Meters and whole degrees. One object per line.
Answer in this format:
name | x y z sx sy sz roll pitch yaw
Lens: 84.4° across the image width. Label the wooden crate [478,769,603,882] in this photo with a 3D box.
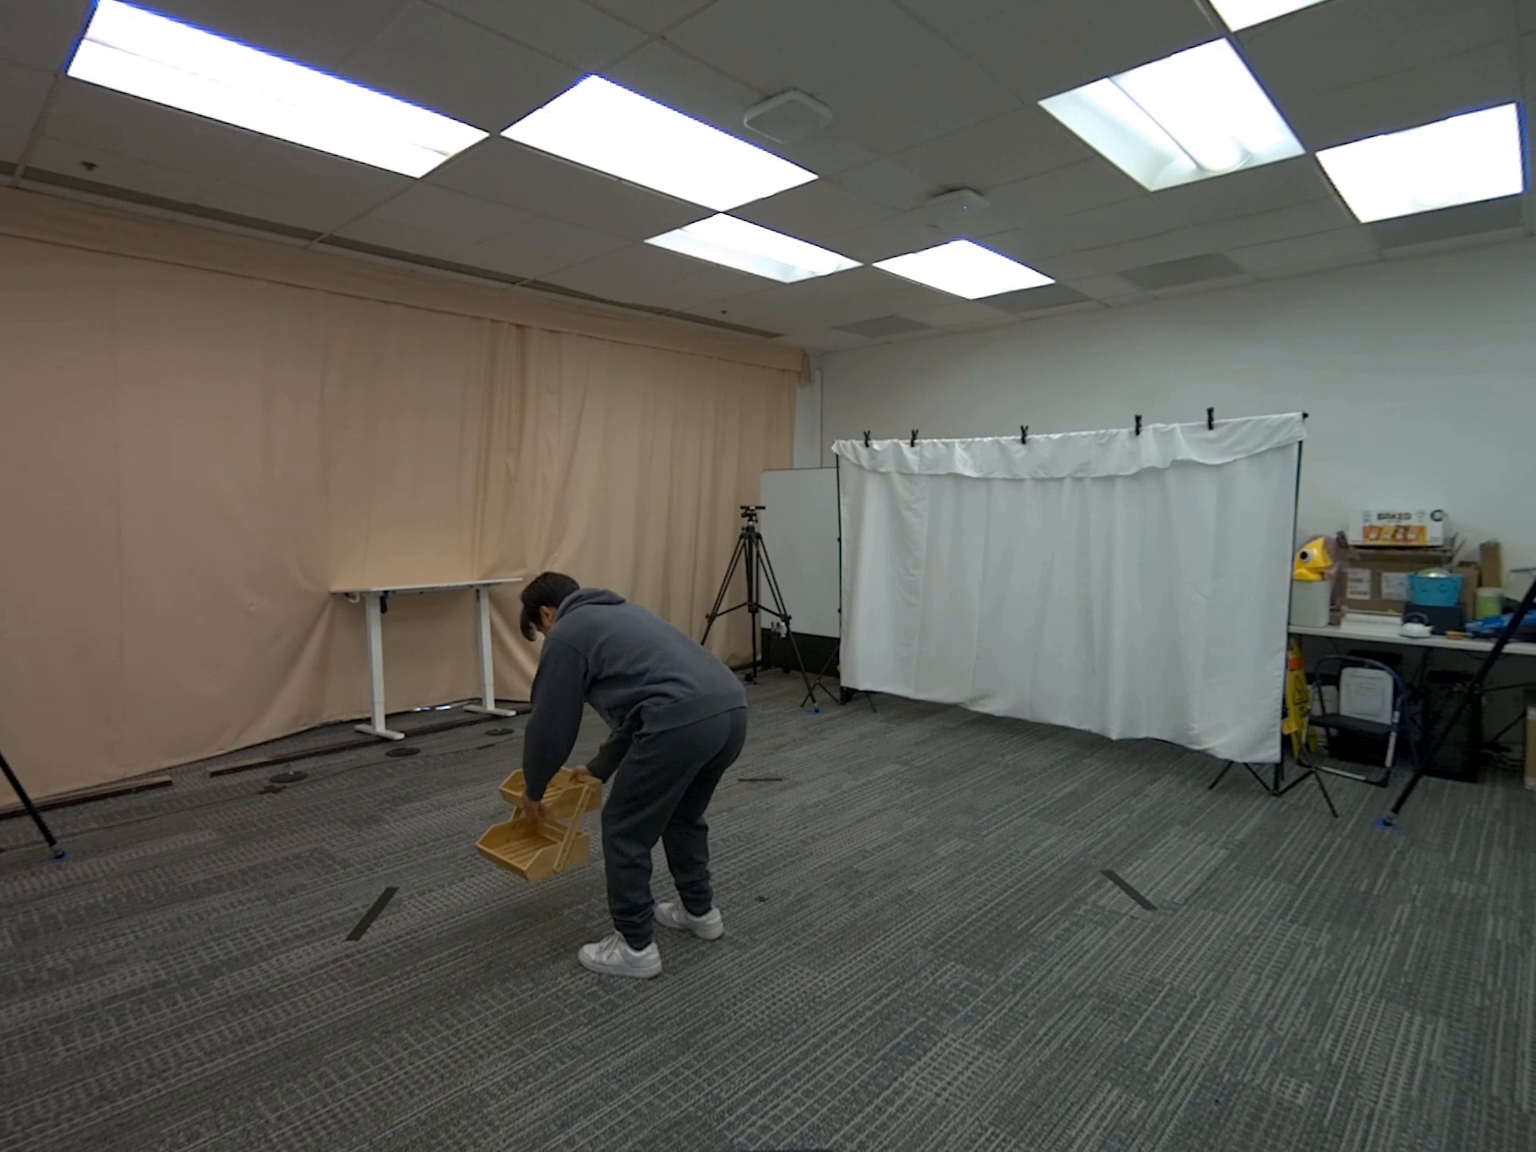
wooden crate | -0.764 0.806 2.823 0.335 0.273 0.292 2 3 42
